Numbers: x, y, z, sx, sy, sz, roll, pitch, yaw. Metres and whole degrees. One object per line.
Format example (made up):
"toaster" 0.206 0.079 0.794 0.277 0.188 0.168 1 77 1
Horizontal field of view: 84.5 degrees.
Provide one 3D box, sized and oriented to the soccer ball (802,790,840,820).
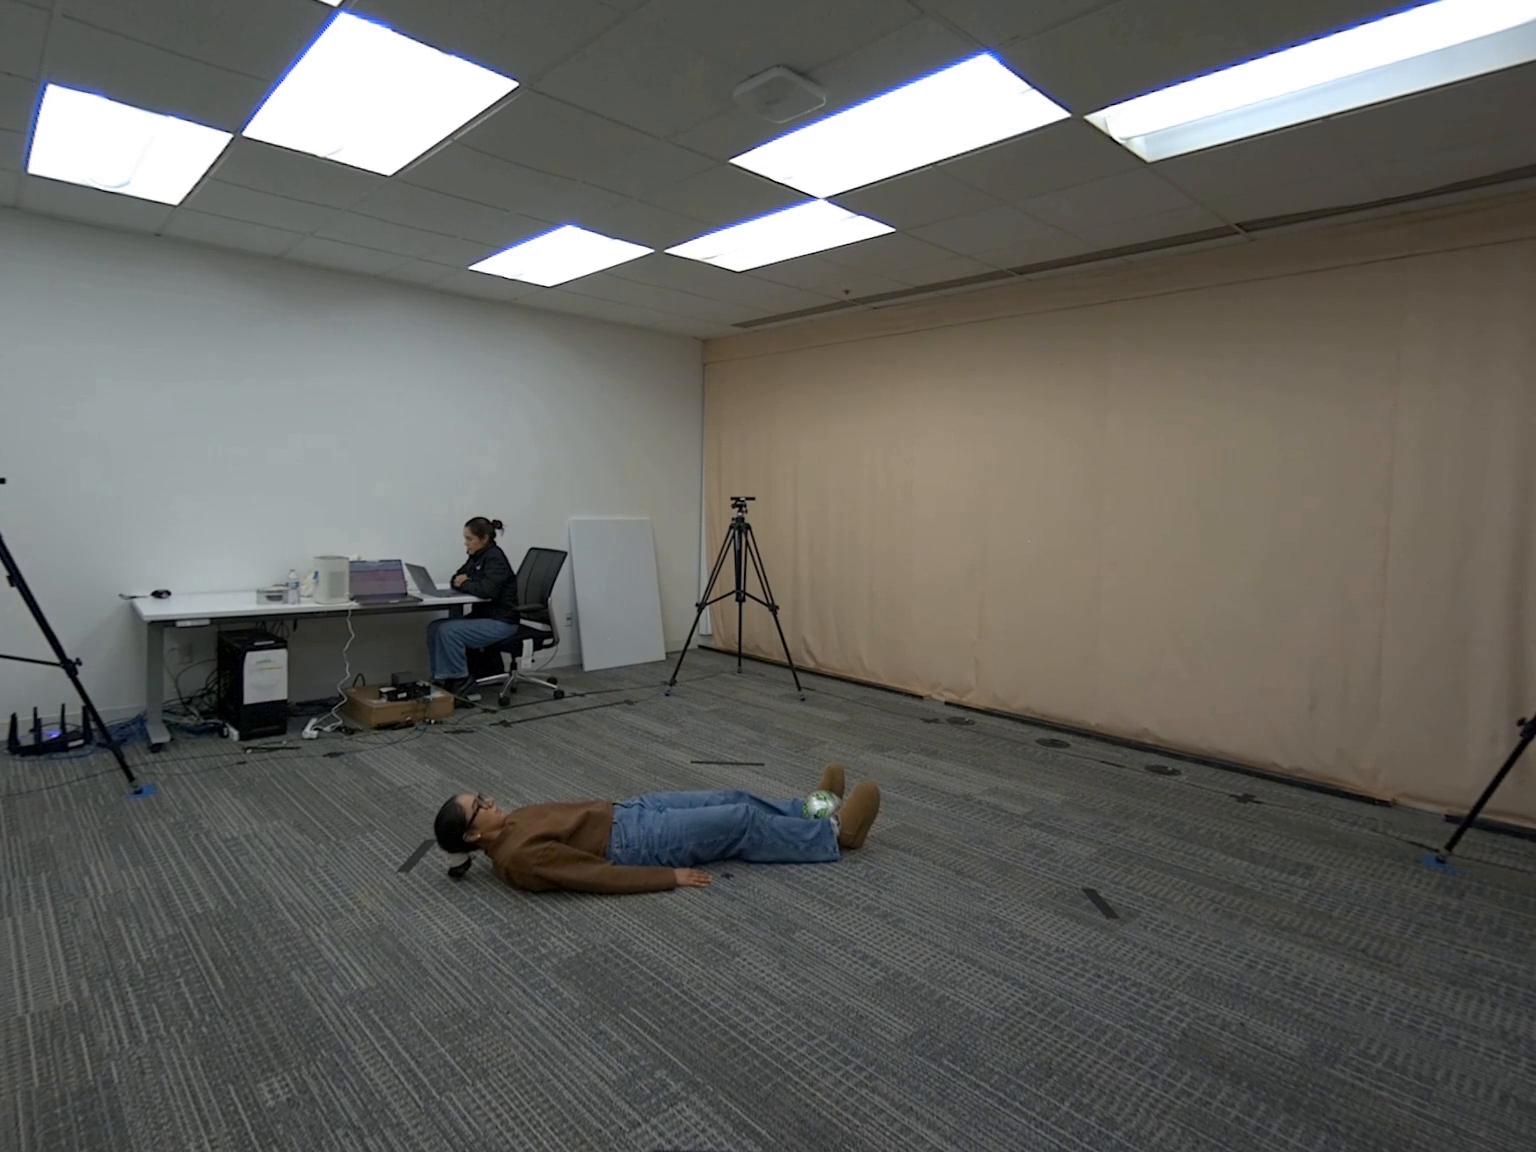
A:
"soccer ball" 0.222 0.981 3.463 0.187 0.187 0.188 1 4 -1
